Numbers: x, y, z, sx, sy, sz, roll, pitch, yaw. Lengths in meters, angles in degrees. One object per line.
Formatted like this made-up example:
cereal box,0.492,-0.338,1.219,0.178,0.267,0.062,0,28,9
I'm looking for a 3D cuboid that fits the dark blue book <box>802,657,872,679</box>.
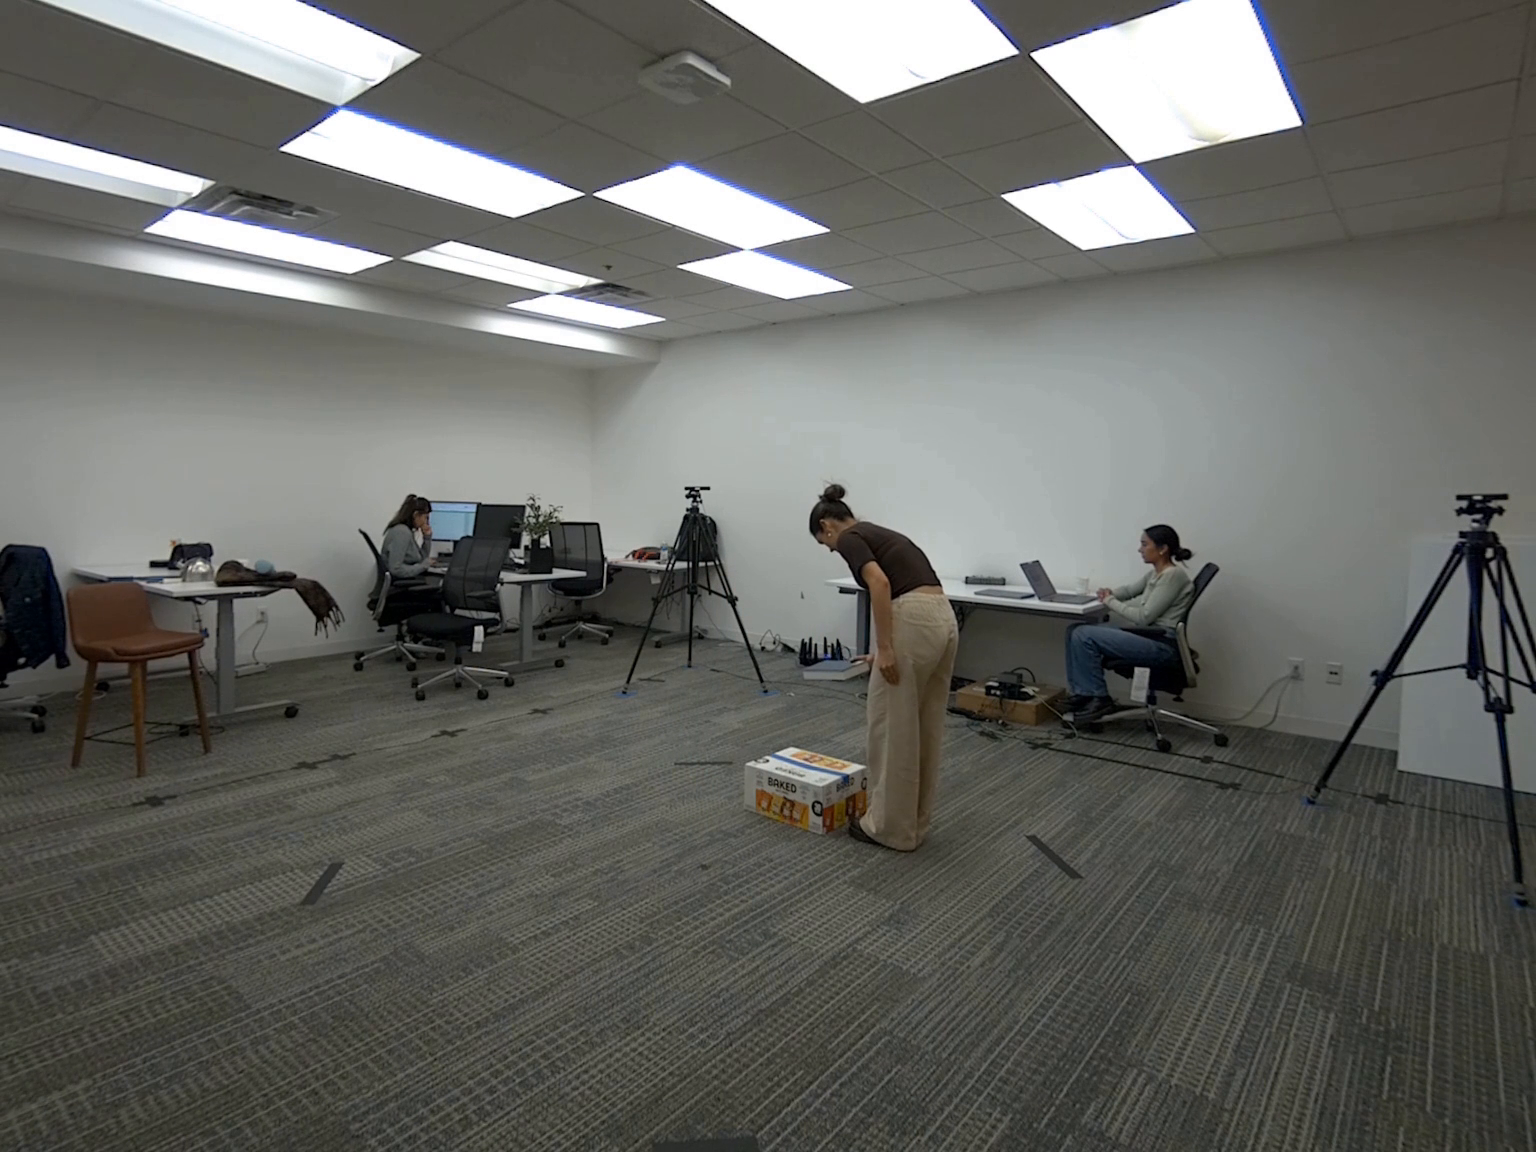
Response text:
dark blue book,0.294,0.389,3.580,0.159,0.045,0.252,-13,5,-40
